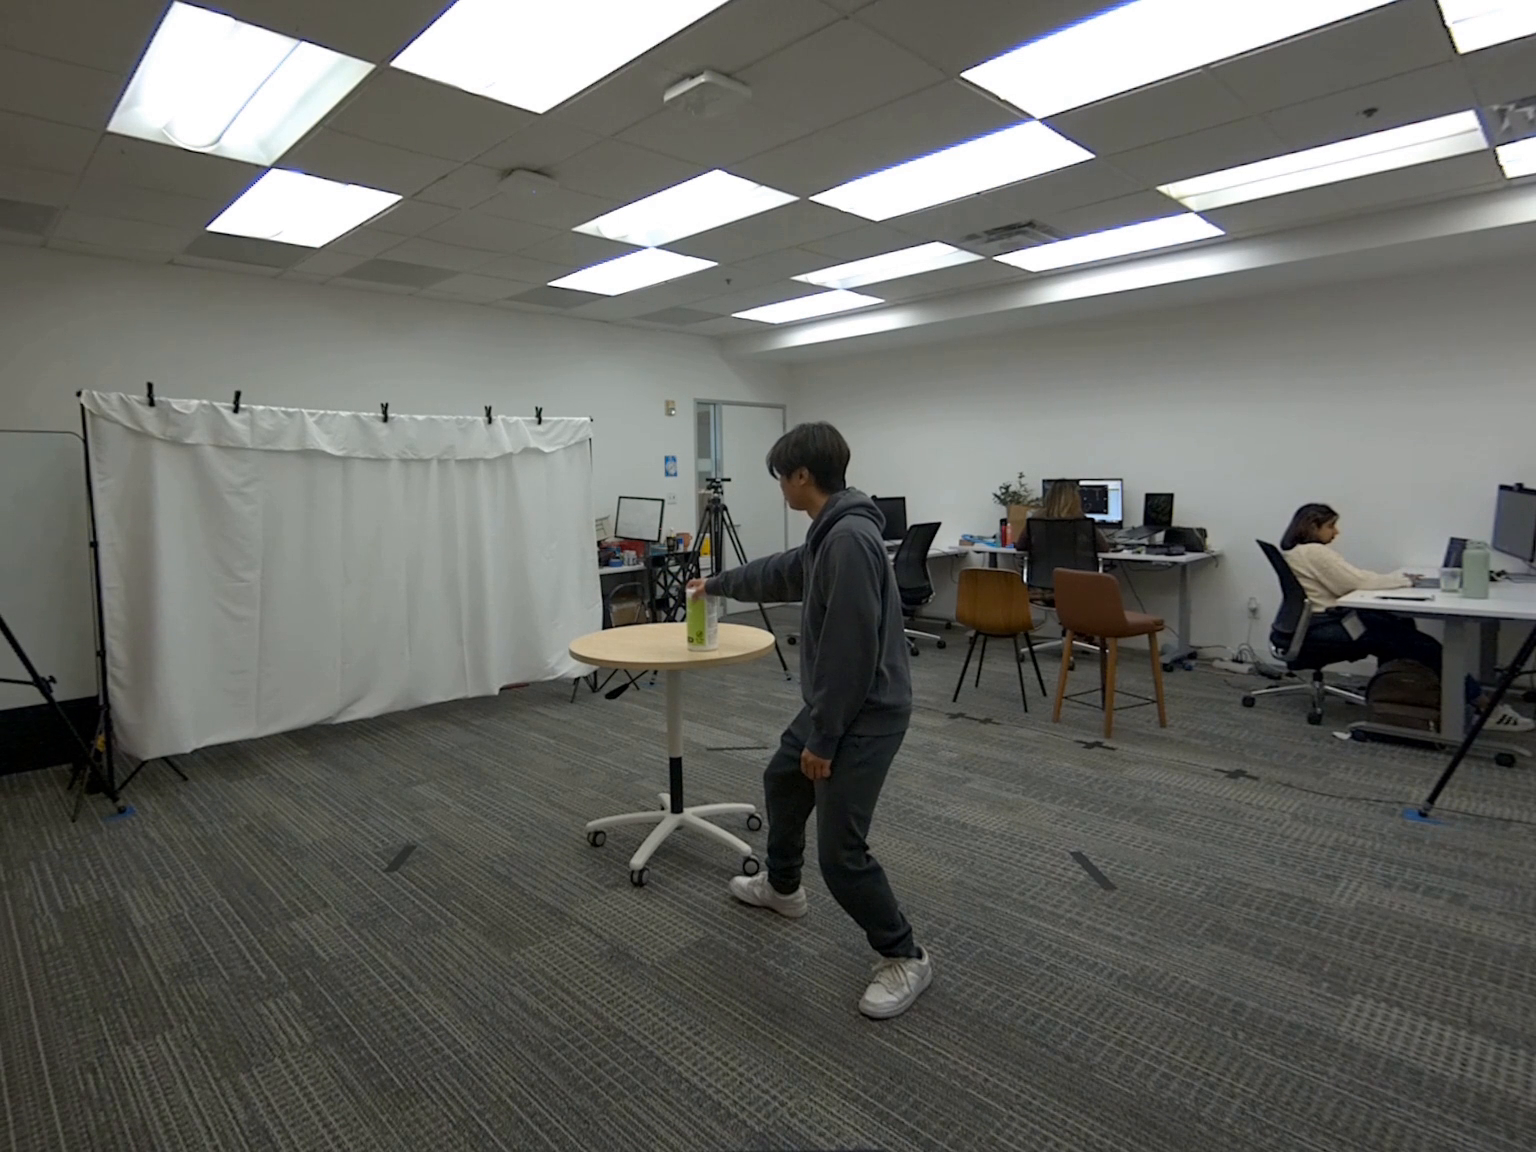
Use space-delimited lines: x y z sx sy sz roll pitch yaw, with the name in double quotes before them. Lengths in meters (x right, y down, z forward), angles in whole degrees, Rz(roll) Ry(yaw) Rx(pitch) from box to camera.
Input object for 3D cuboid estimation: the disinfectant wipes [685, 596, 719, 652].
"disinfectant wipes" -0.228 0.150 3.015 0.118 0.216 0.118 0 5 -2
